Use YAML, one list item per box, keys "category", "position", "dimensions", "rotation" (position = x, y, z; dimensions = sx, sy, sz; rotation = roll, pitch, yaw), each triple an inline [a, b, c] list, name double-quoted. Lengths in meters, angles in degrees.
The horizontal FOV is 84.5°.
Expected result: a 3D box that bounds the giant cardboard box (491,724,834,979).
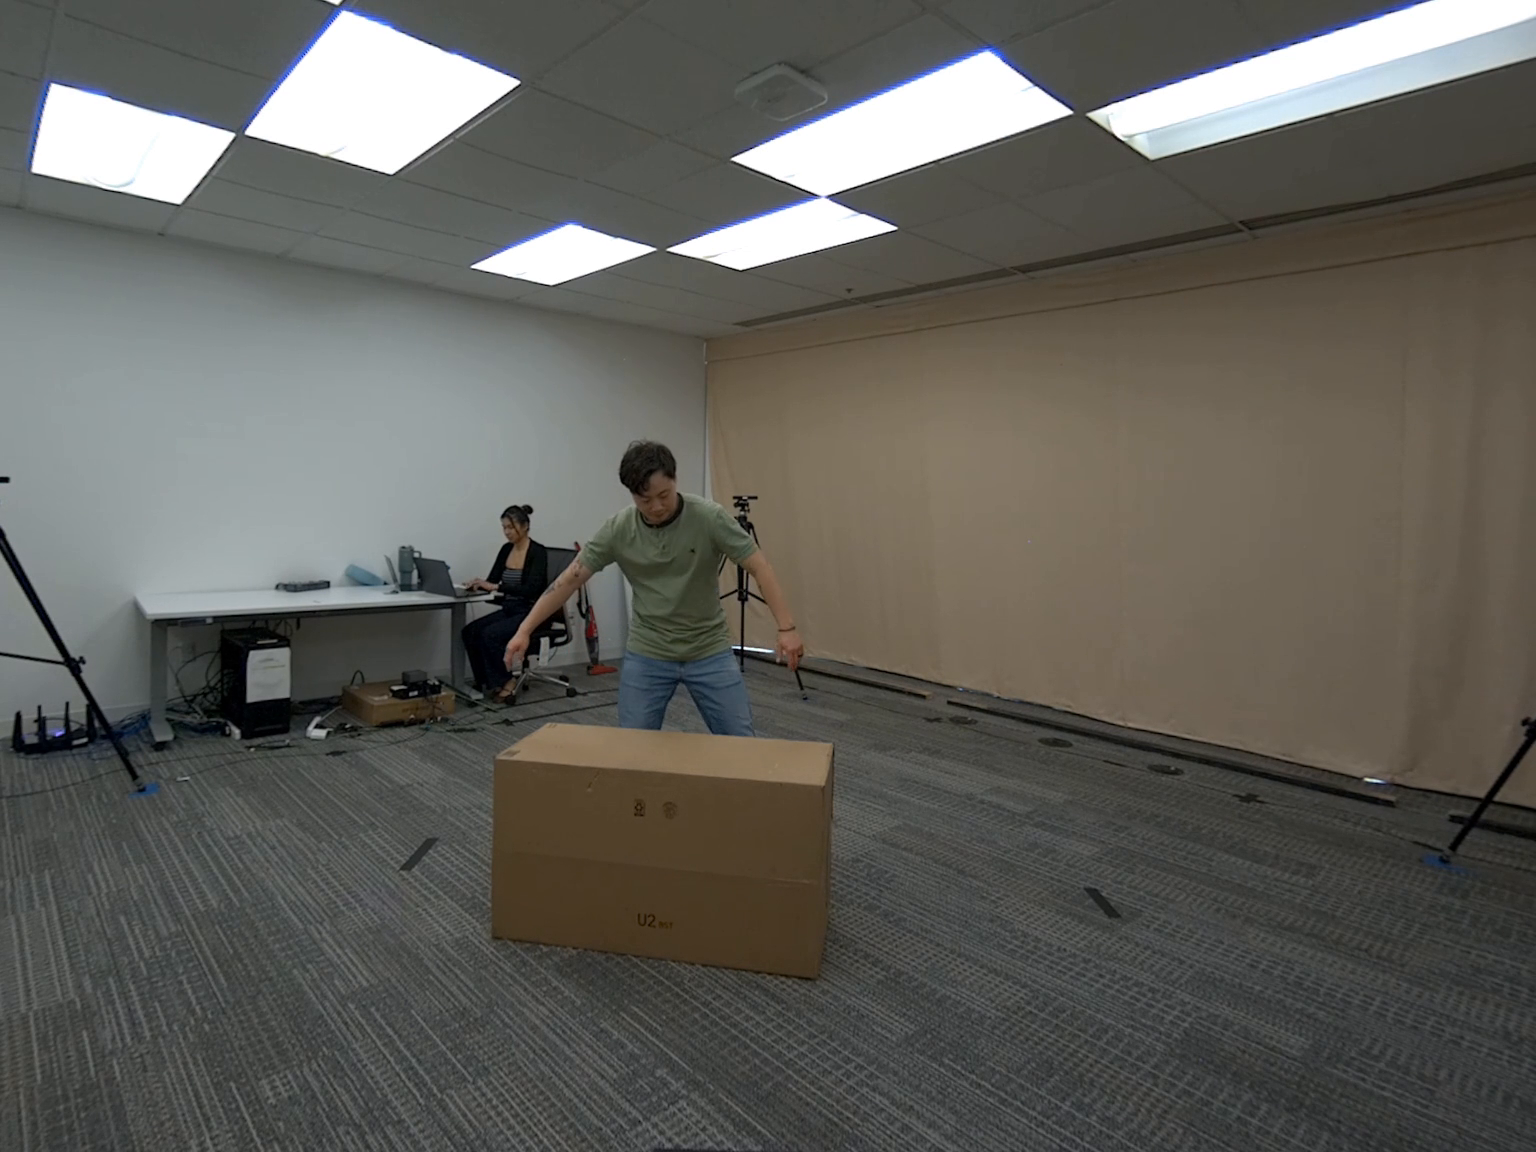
- category: "giant cardboard box"
  position: [-0.325, 0.845, 2.715]
  dimensions: [1.035, 0.576, 0.423]
  rotation: [2, 4, 10]
